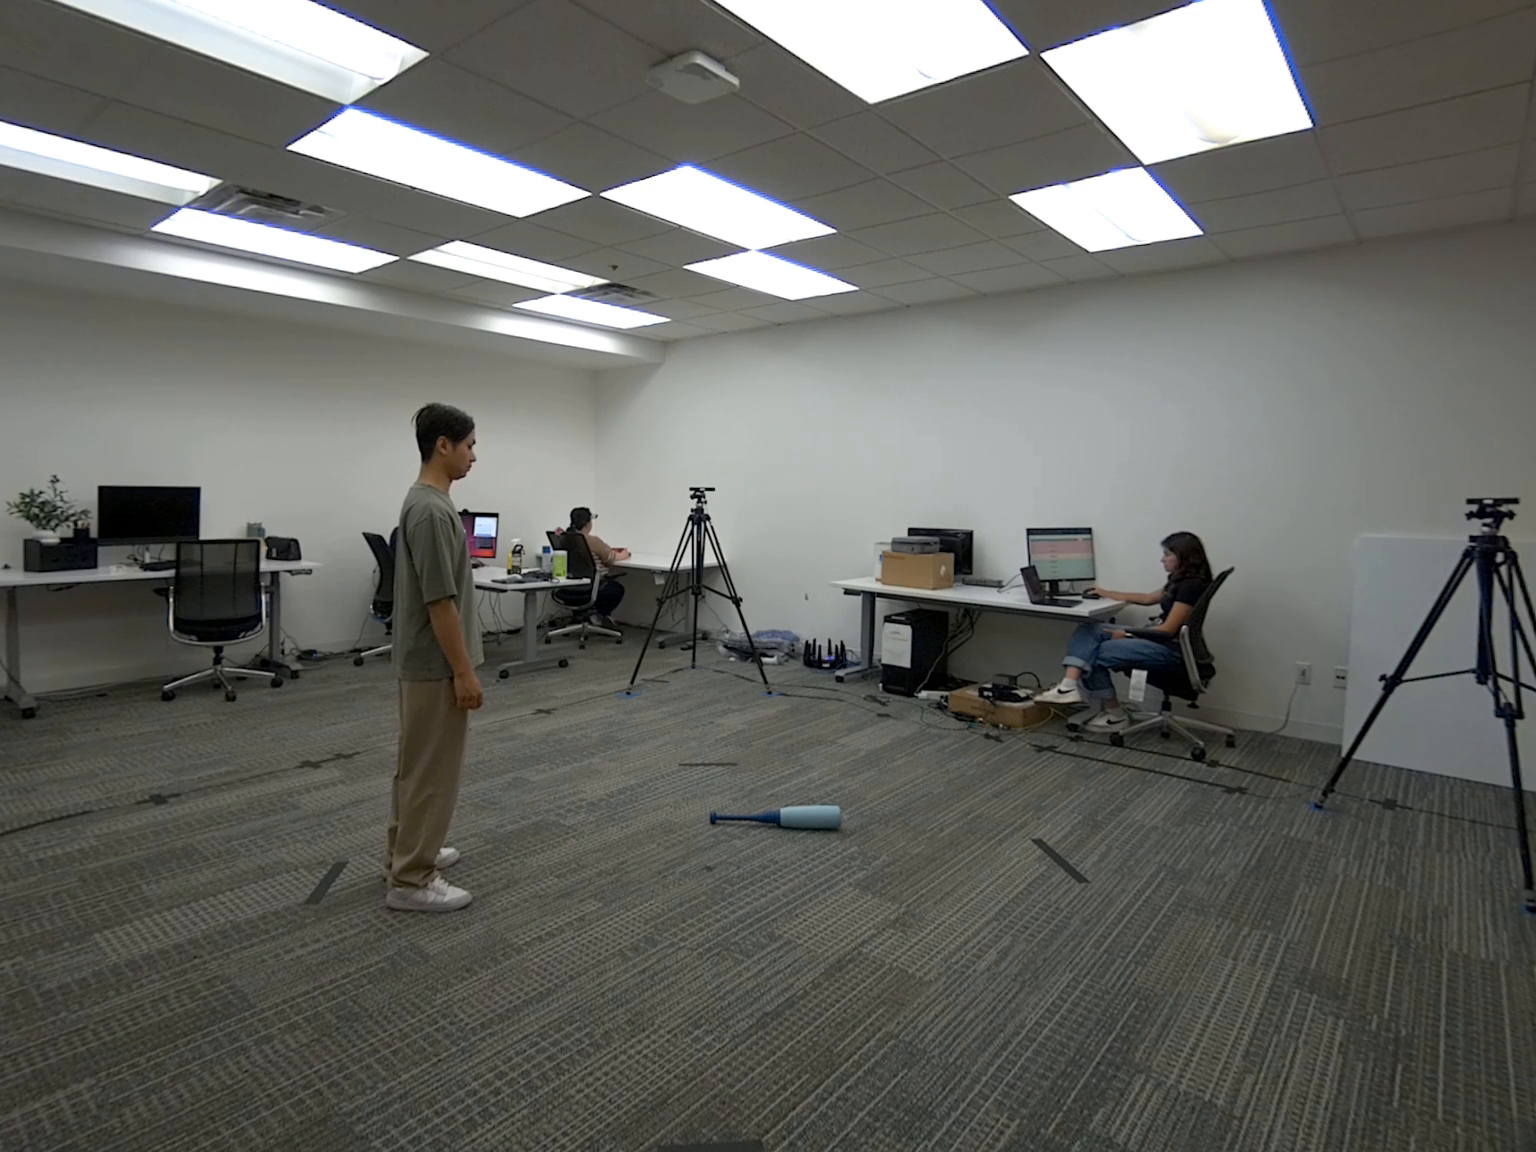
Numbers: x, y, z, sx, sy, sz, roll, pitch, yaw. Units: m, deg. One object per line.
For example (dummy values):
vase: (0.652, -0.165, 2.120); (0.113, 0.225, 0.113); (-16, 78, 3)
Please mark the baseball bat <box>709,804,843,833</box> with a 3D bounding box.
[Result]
baseball bat: (0.018, 0.996, 3.513); (0.545, 0.089, 0.089); (-2, 4, 4)
